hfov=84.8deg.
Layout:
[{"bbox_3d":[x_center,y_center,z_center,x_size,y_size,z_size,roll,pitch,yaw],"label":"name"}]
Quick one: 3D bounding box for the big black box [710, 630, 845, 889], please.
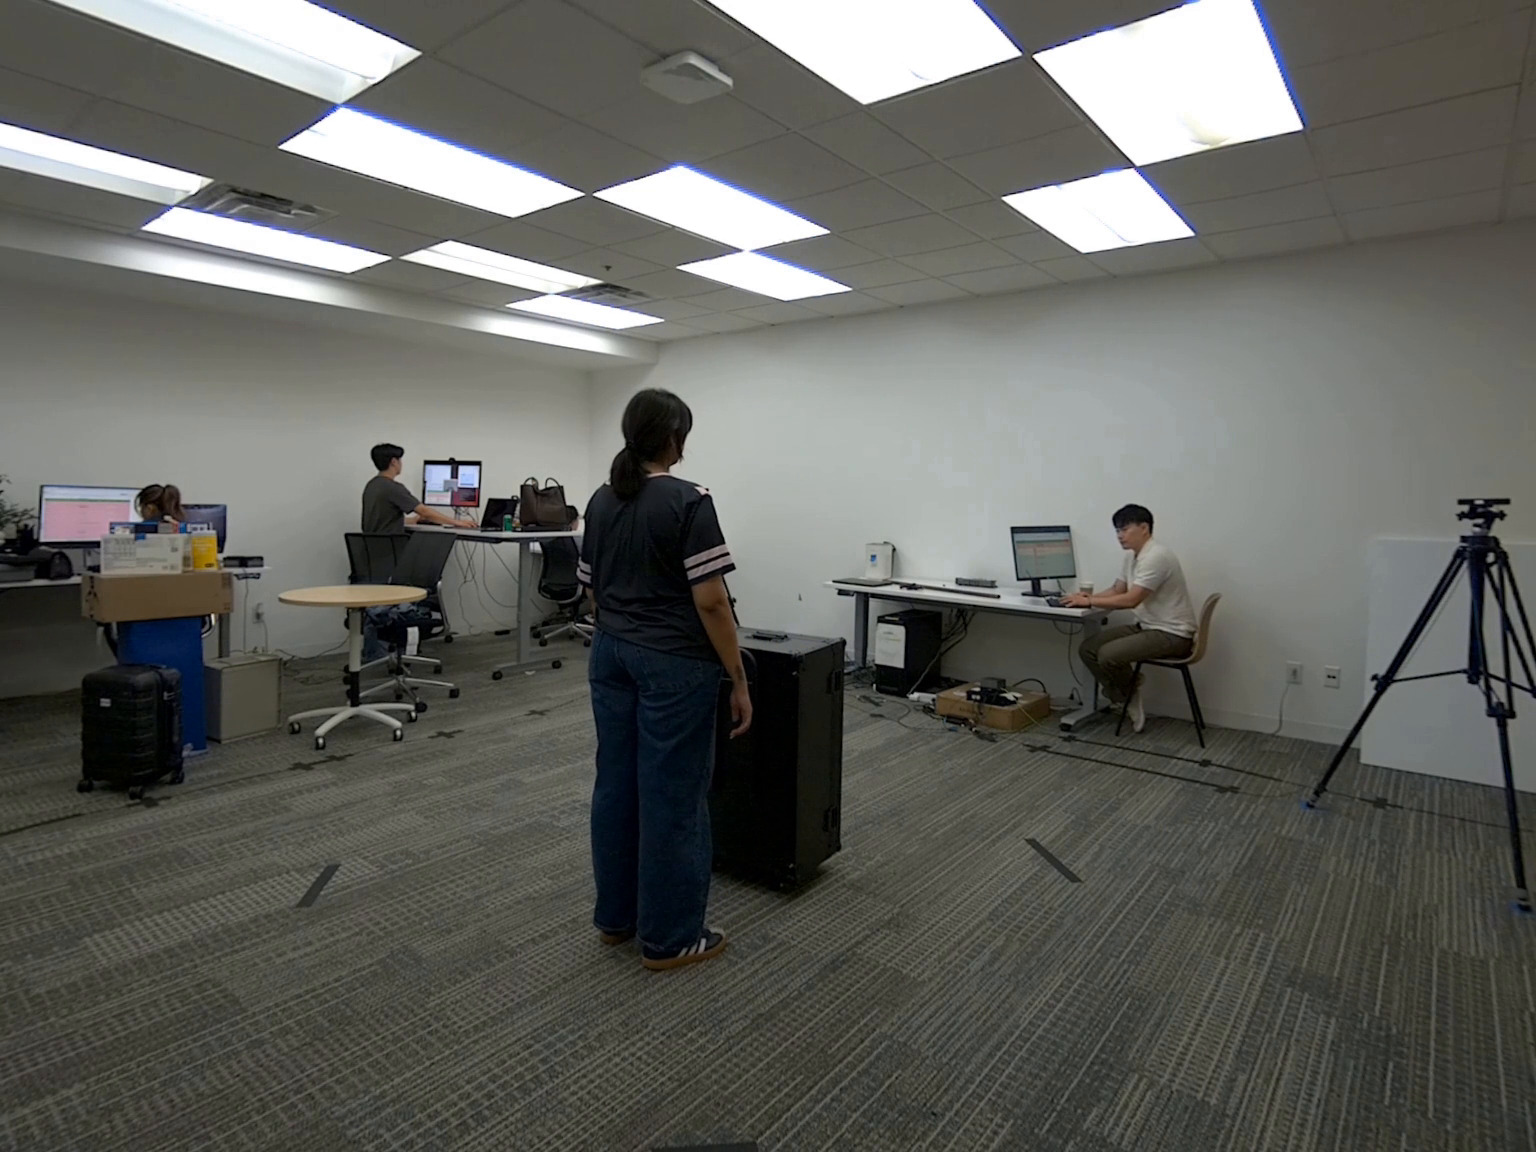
[{"bbox_3d":[-0.021,0.655,3.094,0.539,0.865,0.375,3,4,32],"label":"big black box"}]
